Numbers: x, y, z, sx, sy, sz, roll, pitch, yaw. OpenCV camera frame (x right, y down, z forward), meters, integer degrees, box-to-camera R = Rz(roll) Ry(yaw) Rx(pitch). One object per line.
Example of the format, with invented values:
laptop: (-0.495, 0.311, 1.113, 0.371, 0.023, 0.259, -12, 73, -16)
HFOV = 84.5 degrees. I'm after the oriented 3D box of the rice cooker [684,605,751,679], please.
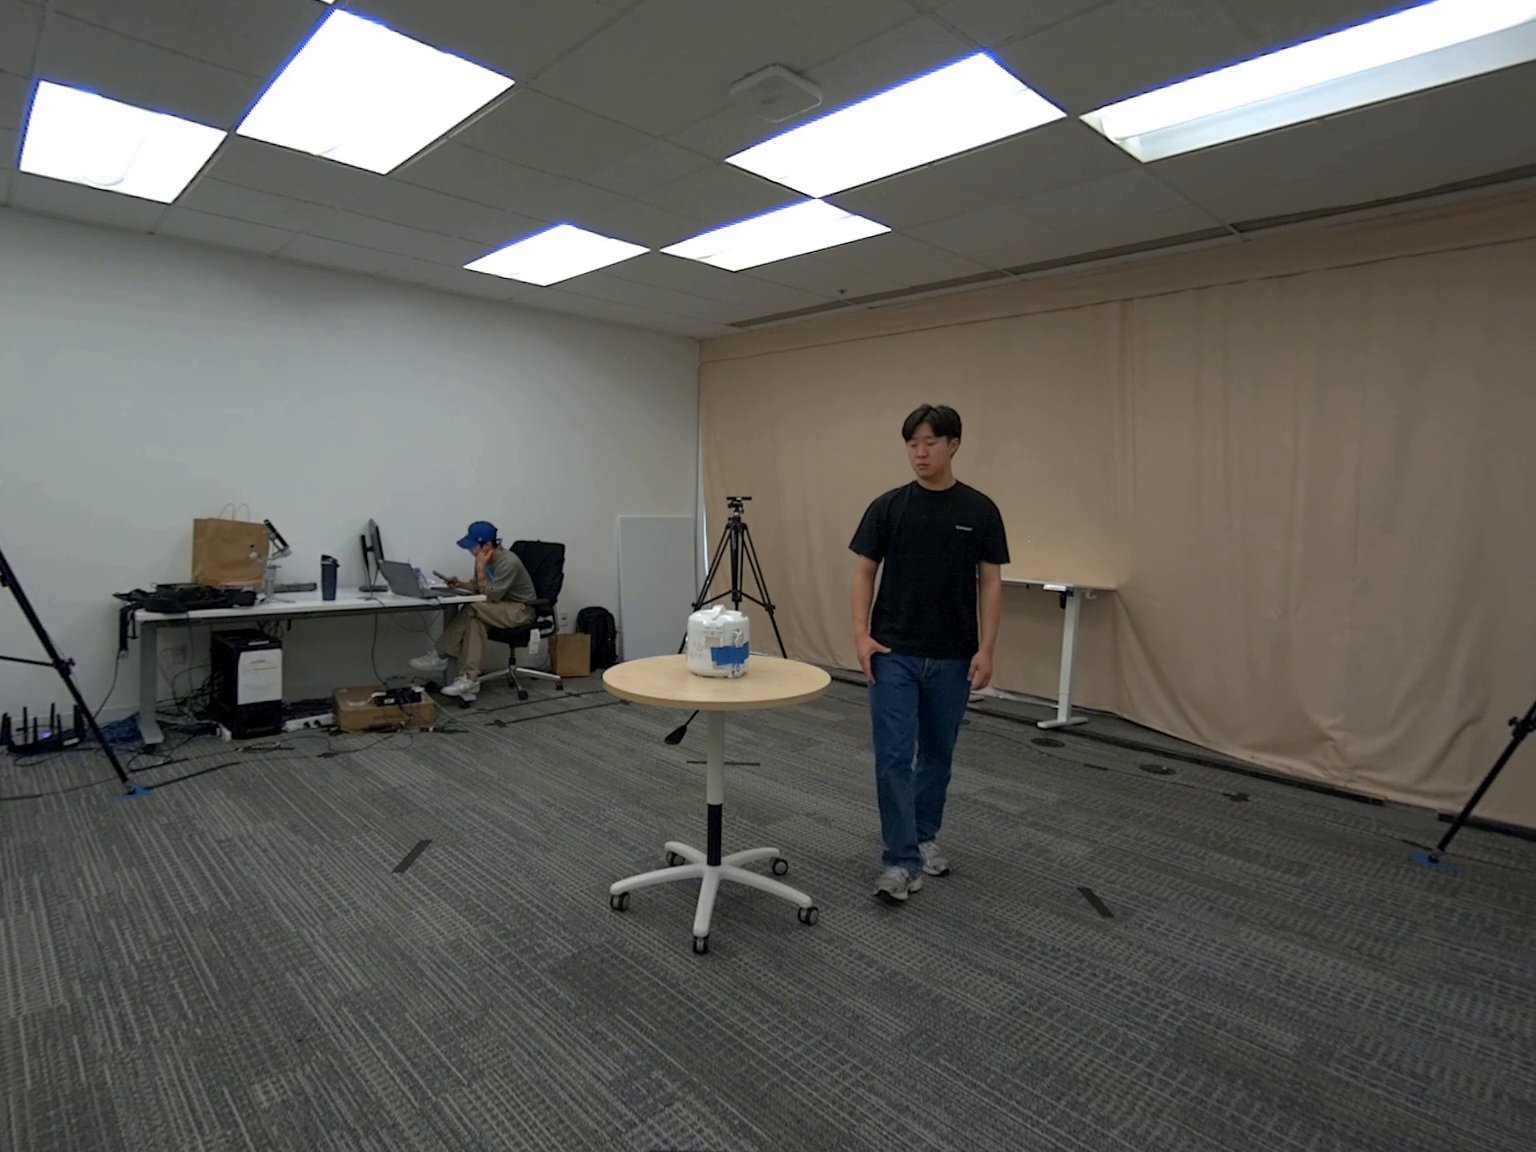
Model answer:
rice cooker: (-0.172, 0.216, 2.861, 0.219, 0.232, 0.219, 2, 5, 9)
